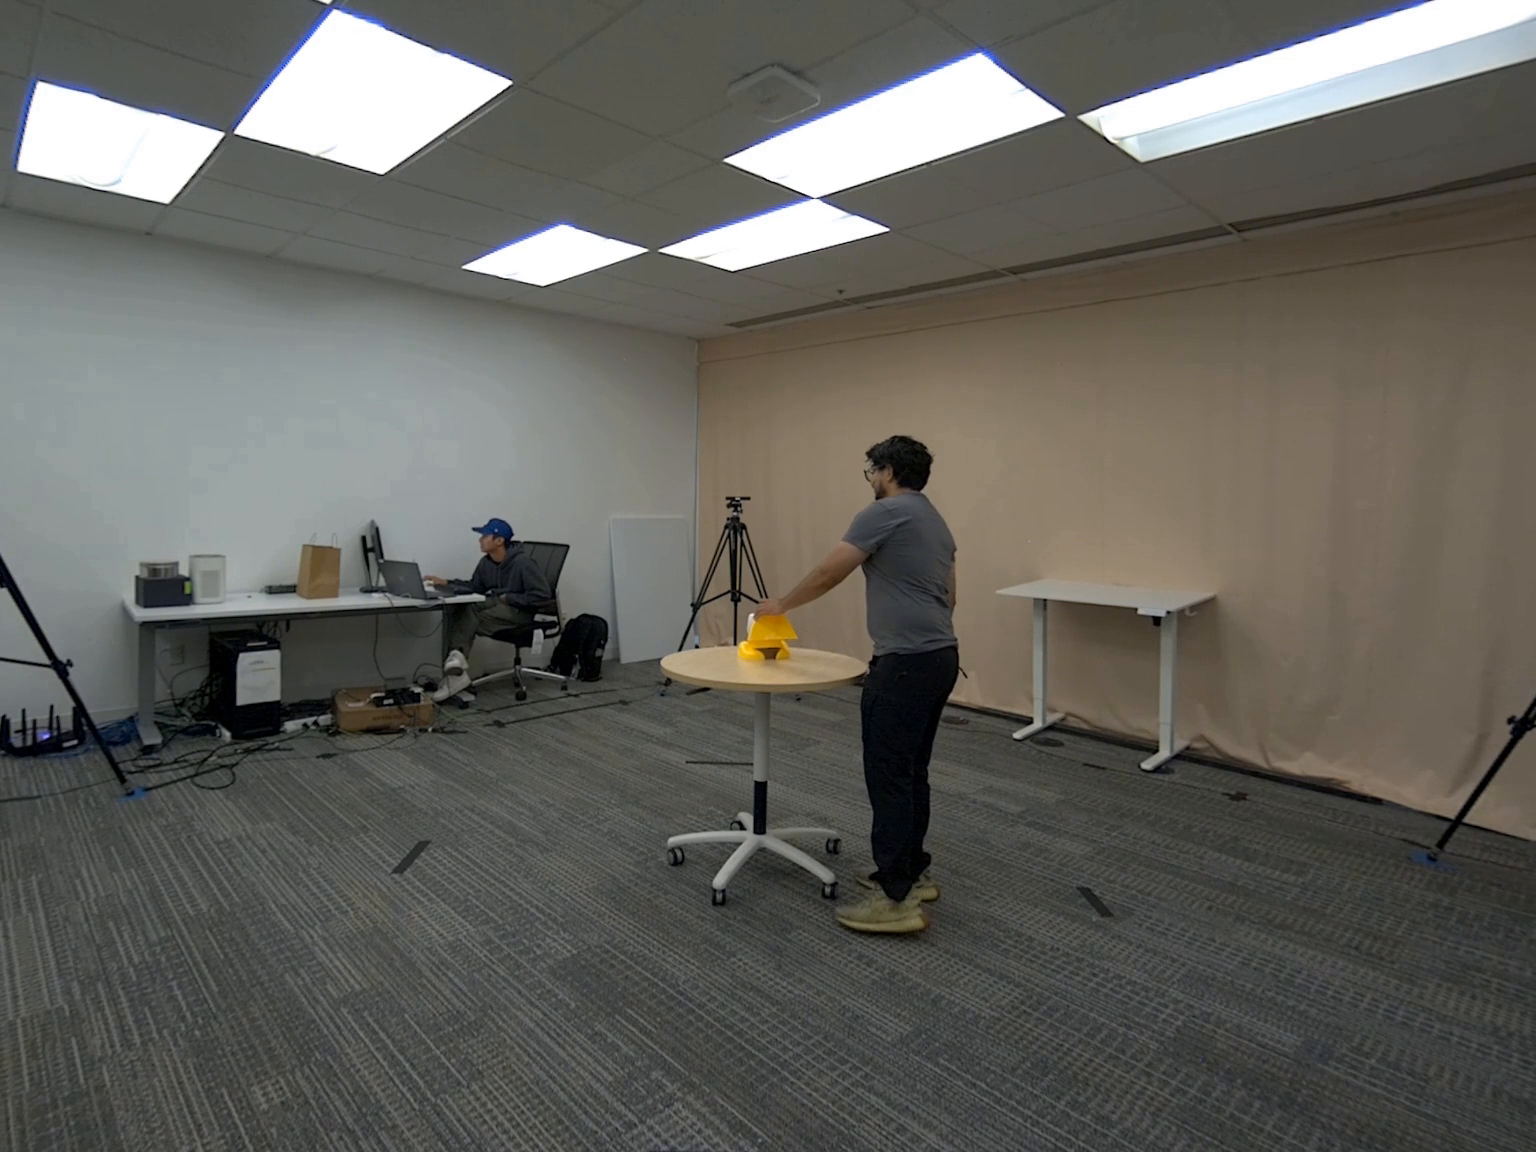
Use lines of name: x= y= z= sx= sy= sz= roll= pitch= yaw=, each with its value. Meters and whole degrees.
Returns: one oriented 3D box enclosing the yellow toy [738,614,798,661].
yellow toy: x=-0.020 y=0.199 z=3.265 sx=0.201 sy=0.230 sz=0.196 roll=0 pitch=4 yaw=-21
